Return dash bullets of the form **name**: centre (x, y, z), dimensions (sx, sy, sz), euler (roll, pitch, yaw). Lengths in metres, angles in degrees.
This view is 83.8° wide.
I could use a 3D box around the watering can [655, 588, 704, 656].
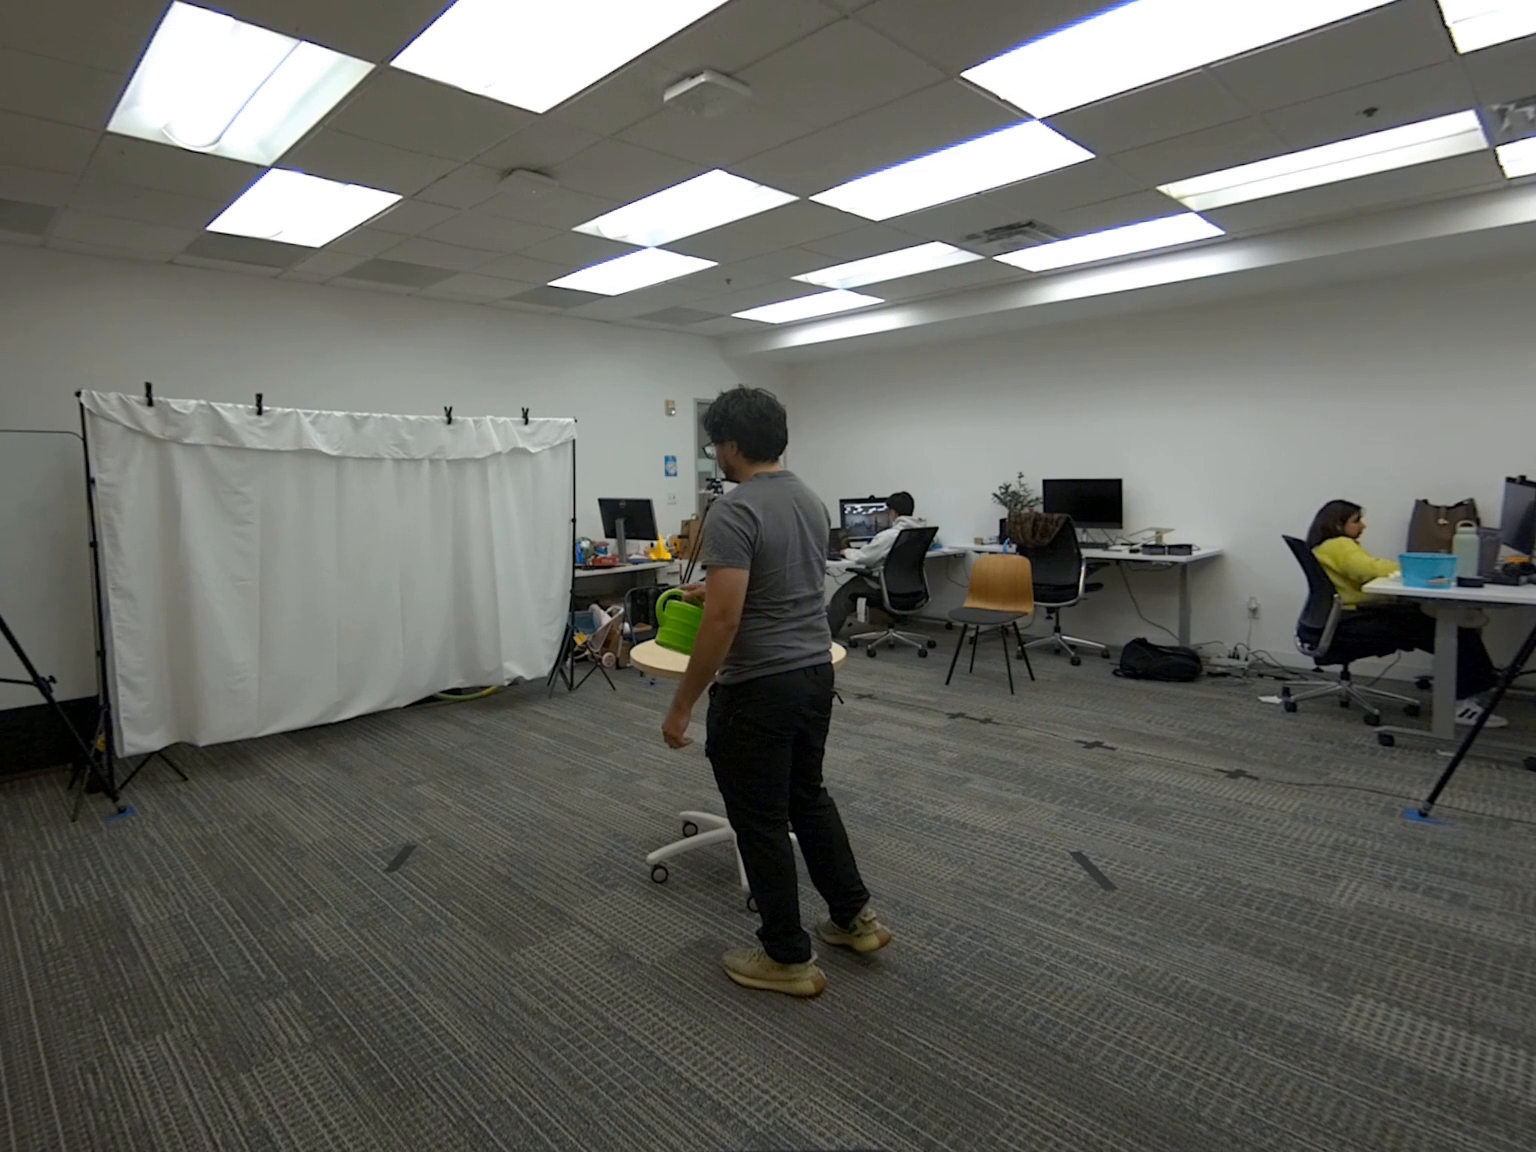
- **watering can**: centre (-0.201, 0.147, 2.535), dimensions (0.274, 0.178, 0.099), euler (16, -12, -13)
